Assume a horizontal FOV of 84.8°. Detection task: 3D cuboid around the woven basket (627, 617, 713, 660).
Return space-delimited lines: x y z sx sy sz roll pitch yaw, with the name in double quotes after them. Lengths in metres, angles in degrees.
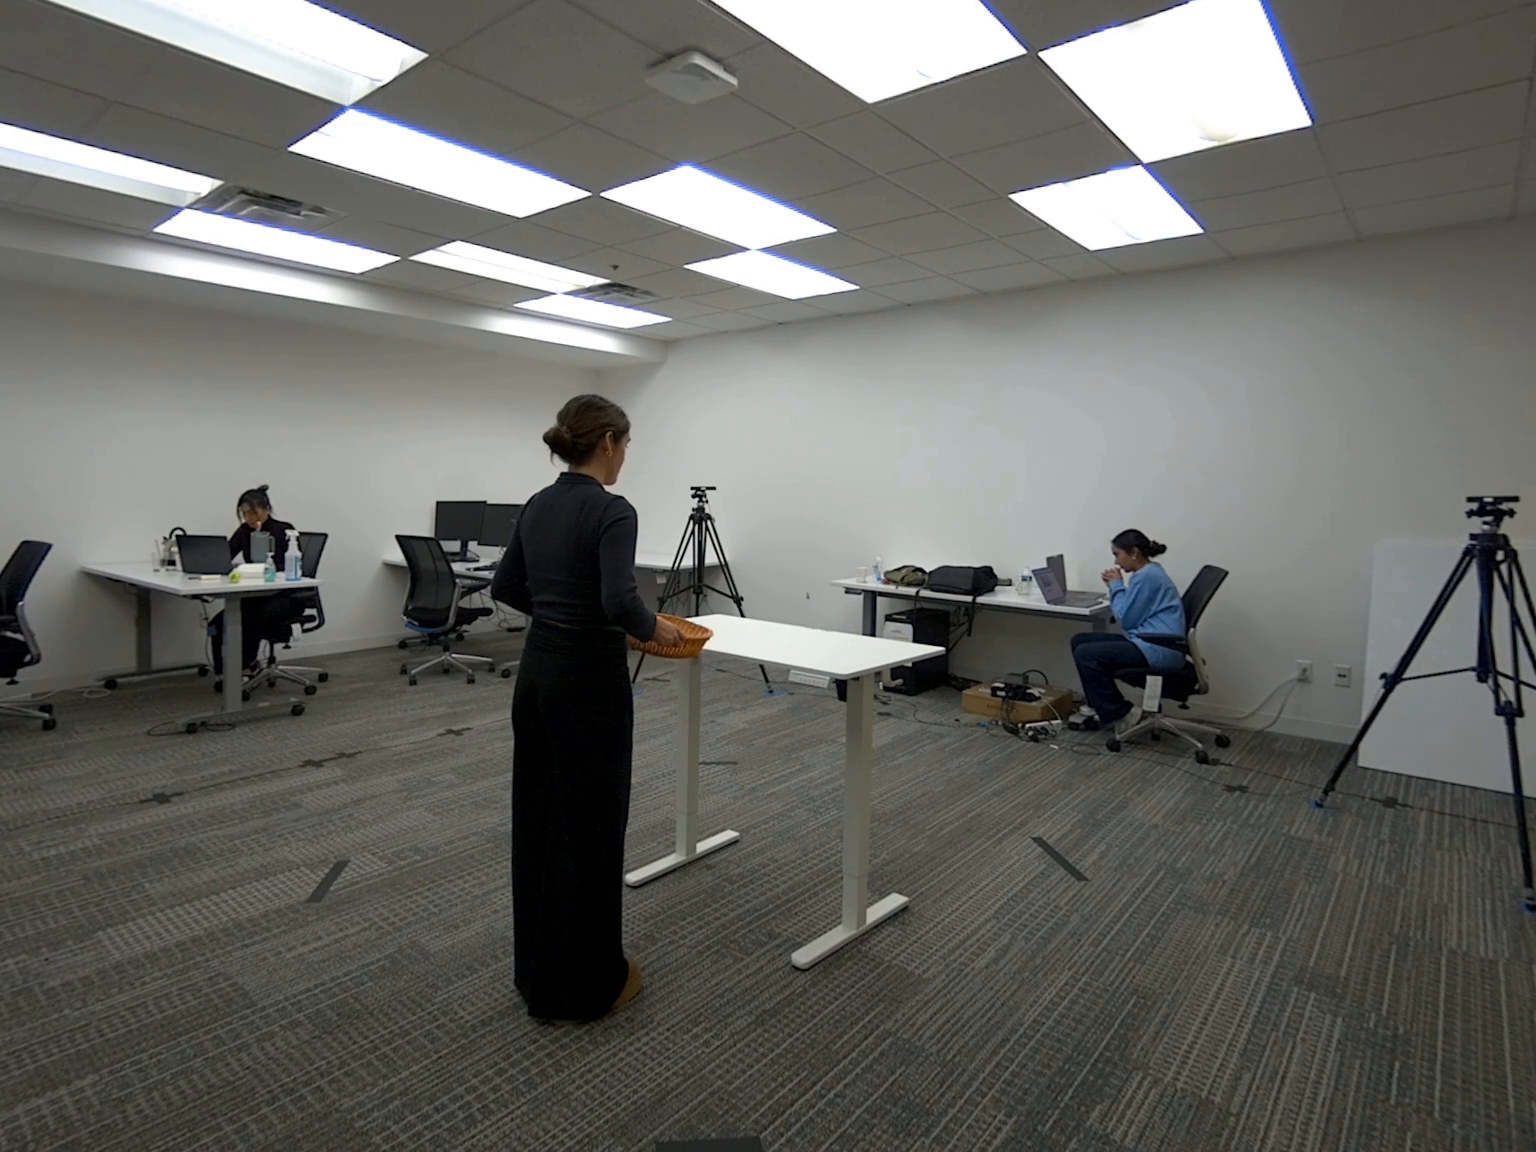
-0.327 0.178 2.465 0.363 0.073 0.244 12 9 39 "woven basket"
